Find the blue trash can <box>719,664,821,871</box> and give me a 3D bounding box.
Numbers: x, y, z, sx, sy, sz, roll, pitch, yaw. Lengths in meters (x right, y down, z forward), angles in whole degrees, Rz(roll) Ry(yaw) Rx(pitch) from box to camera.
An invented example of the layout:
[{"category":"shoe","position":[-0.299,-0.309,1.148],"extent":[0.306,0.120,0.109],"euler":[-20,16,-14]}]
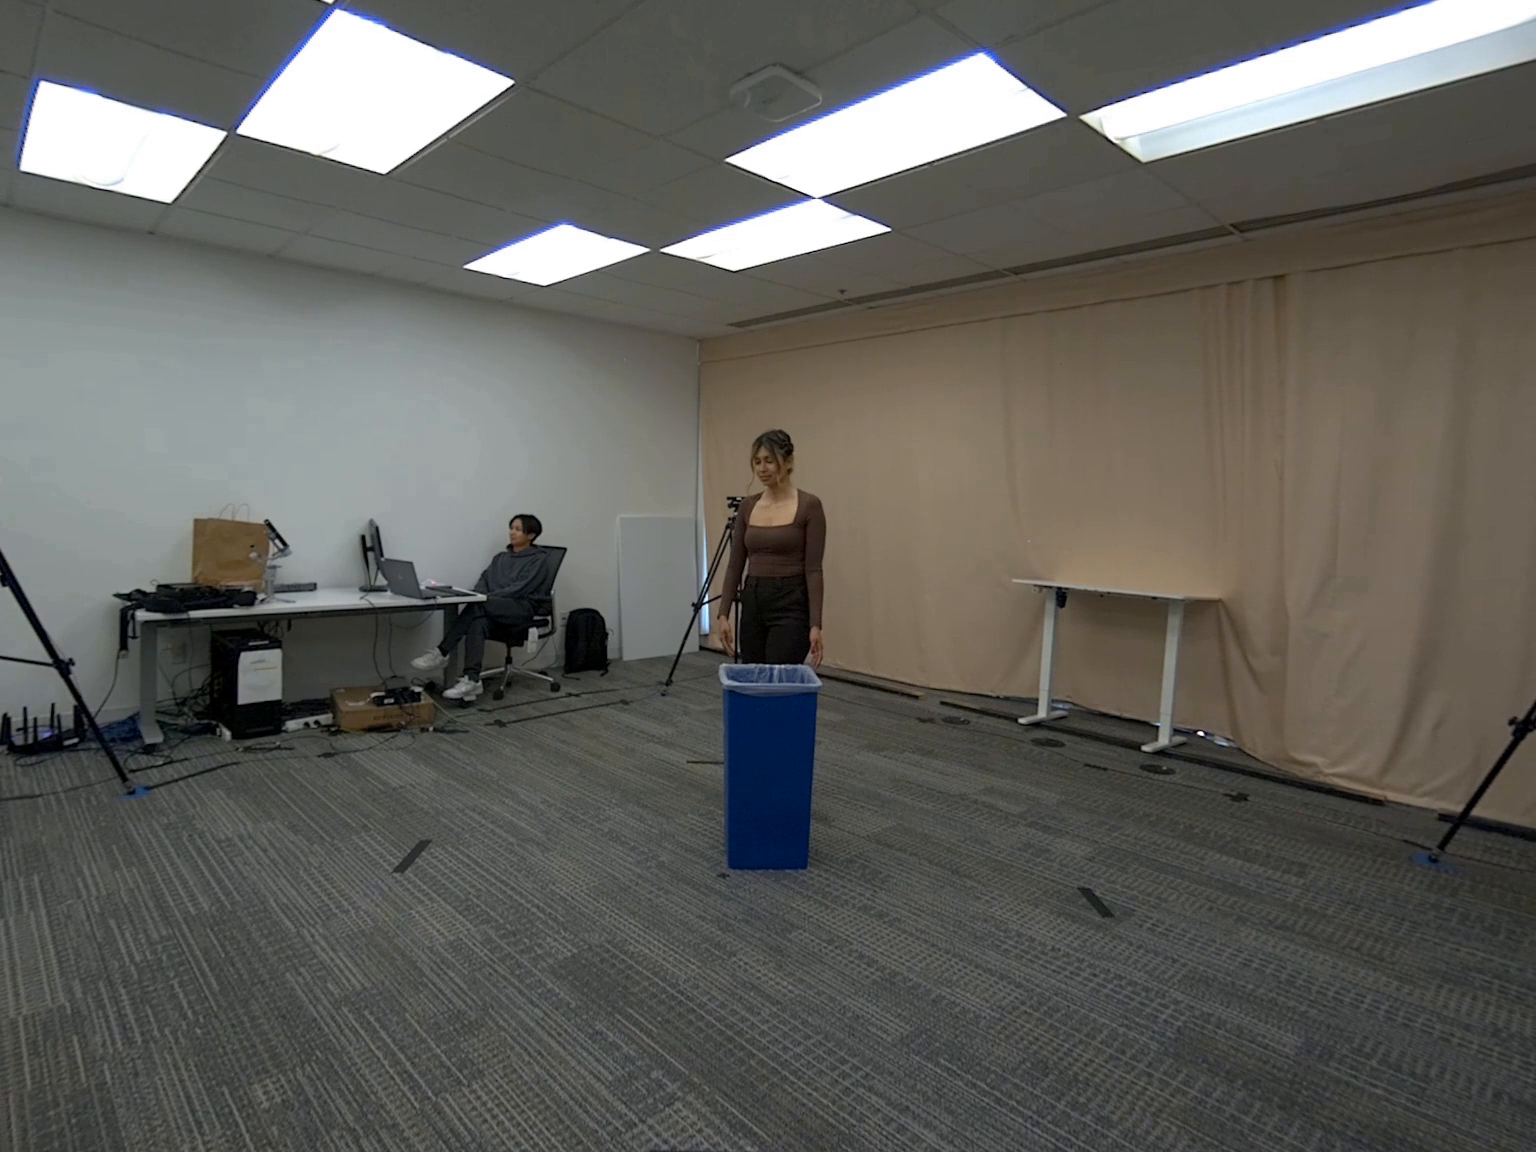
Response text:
[{"category":"blue trash can","position":[-0.021,0.736,3.290],"extent":[0.373,0.712,0.380],"euler":[2,3,-5]}]
